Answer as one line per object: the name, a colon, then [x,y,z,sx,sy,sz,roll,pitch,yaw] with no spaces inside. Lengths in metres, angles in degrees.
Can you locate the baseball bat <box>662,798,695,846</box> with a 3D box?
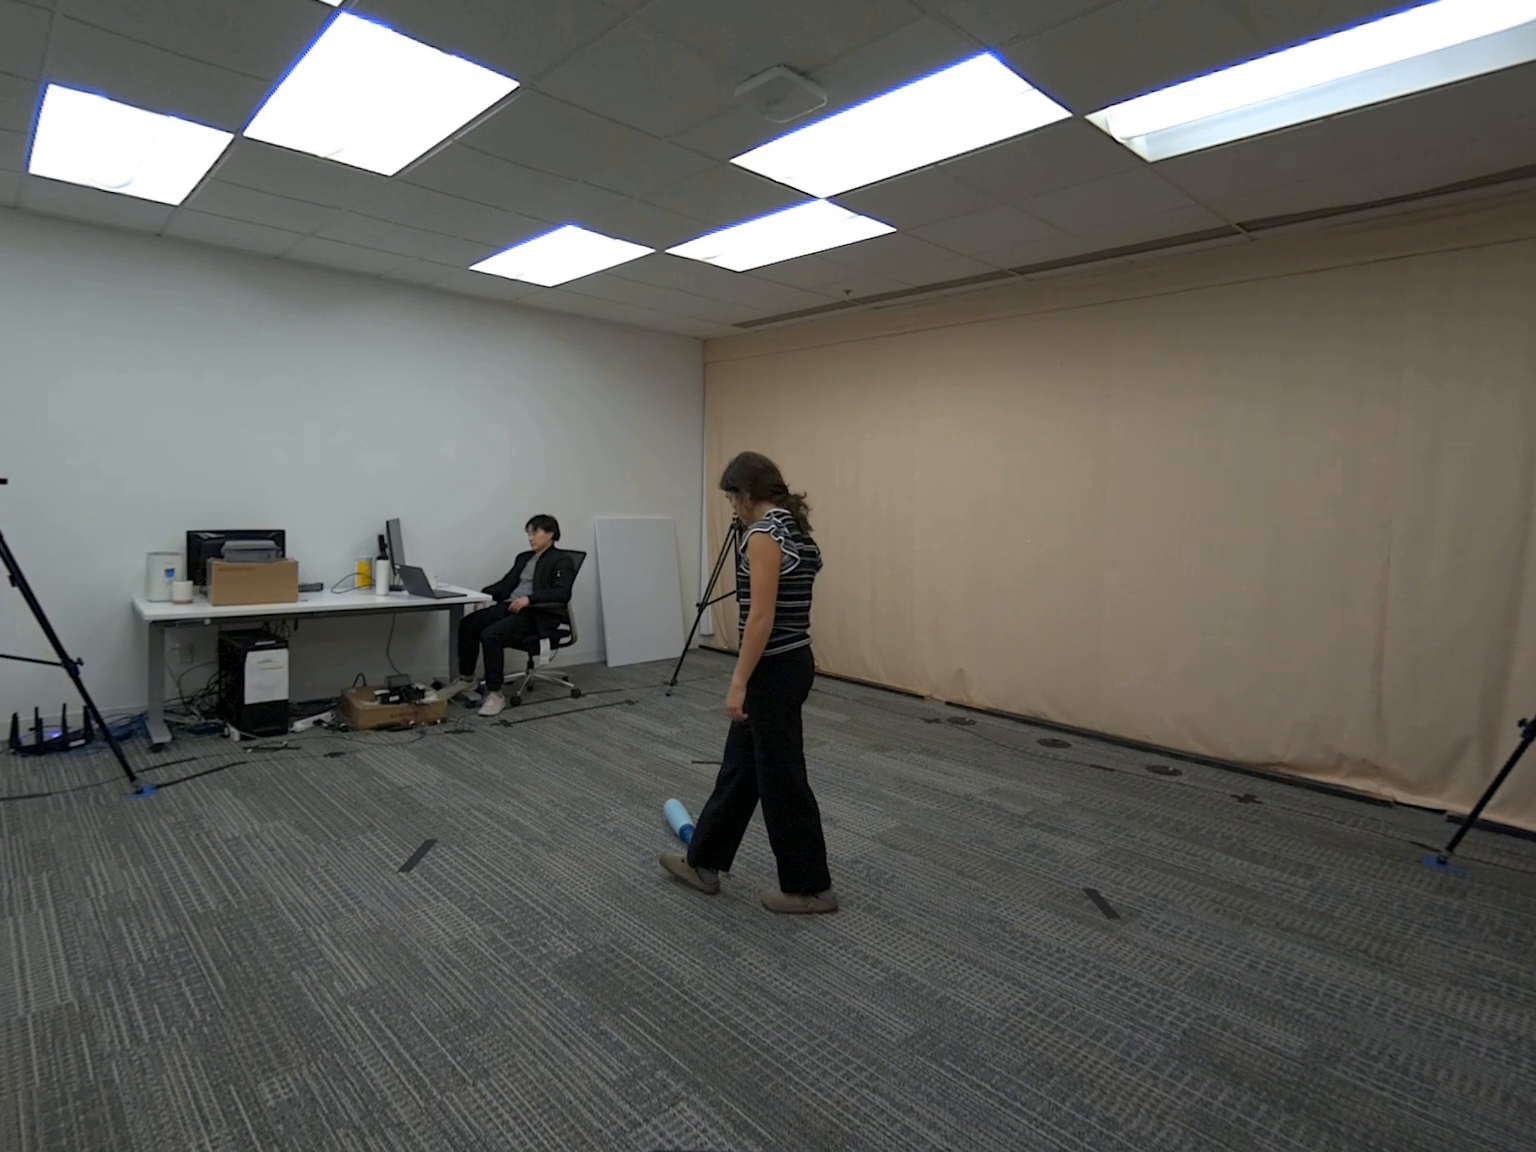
baseball bat: [-0.329,1.043,3.388,0.088,0.088,0.554,0,9,-19]
